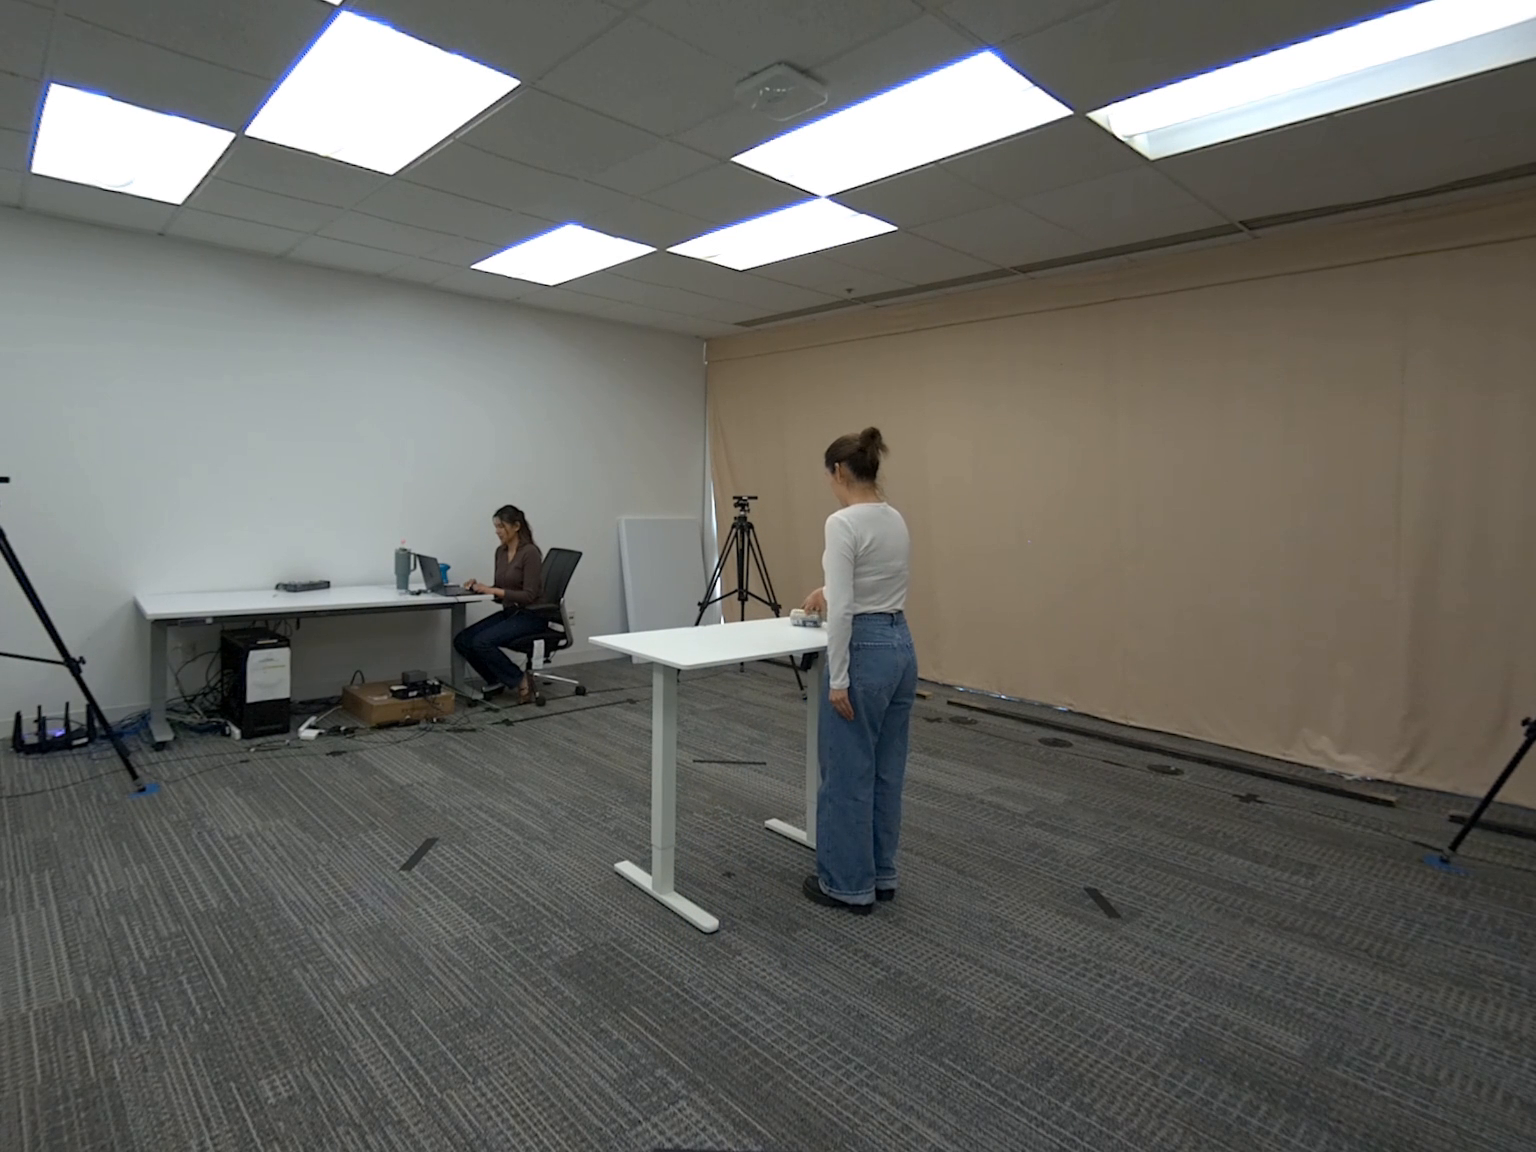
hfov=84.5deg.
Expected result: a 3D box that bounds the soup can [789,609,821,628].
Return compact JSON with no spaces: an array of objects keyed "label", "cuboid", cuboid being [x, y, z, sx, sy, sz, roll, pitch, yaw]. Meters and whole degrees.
[{"label":"soup can","cuboid":[0.150,0.163,3.383,0.122,0.067,0.067,2,4,7]}]
